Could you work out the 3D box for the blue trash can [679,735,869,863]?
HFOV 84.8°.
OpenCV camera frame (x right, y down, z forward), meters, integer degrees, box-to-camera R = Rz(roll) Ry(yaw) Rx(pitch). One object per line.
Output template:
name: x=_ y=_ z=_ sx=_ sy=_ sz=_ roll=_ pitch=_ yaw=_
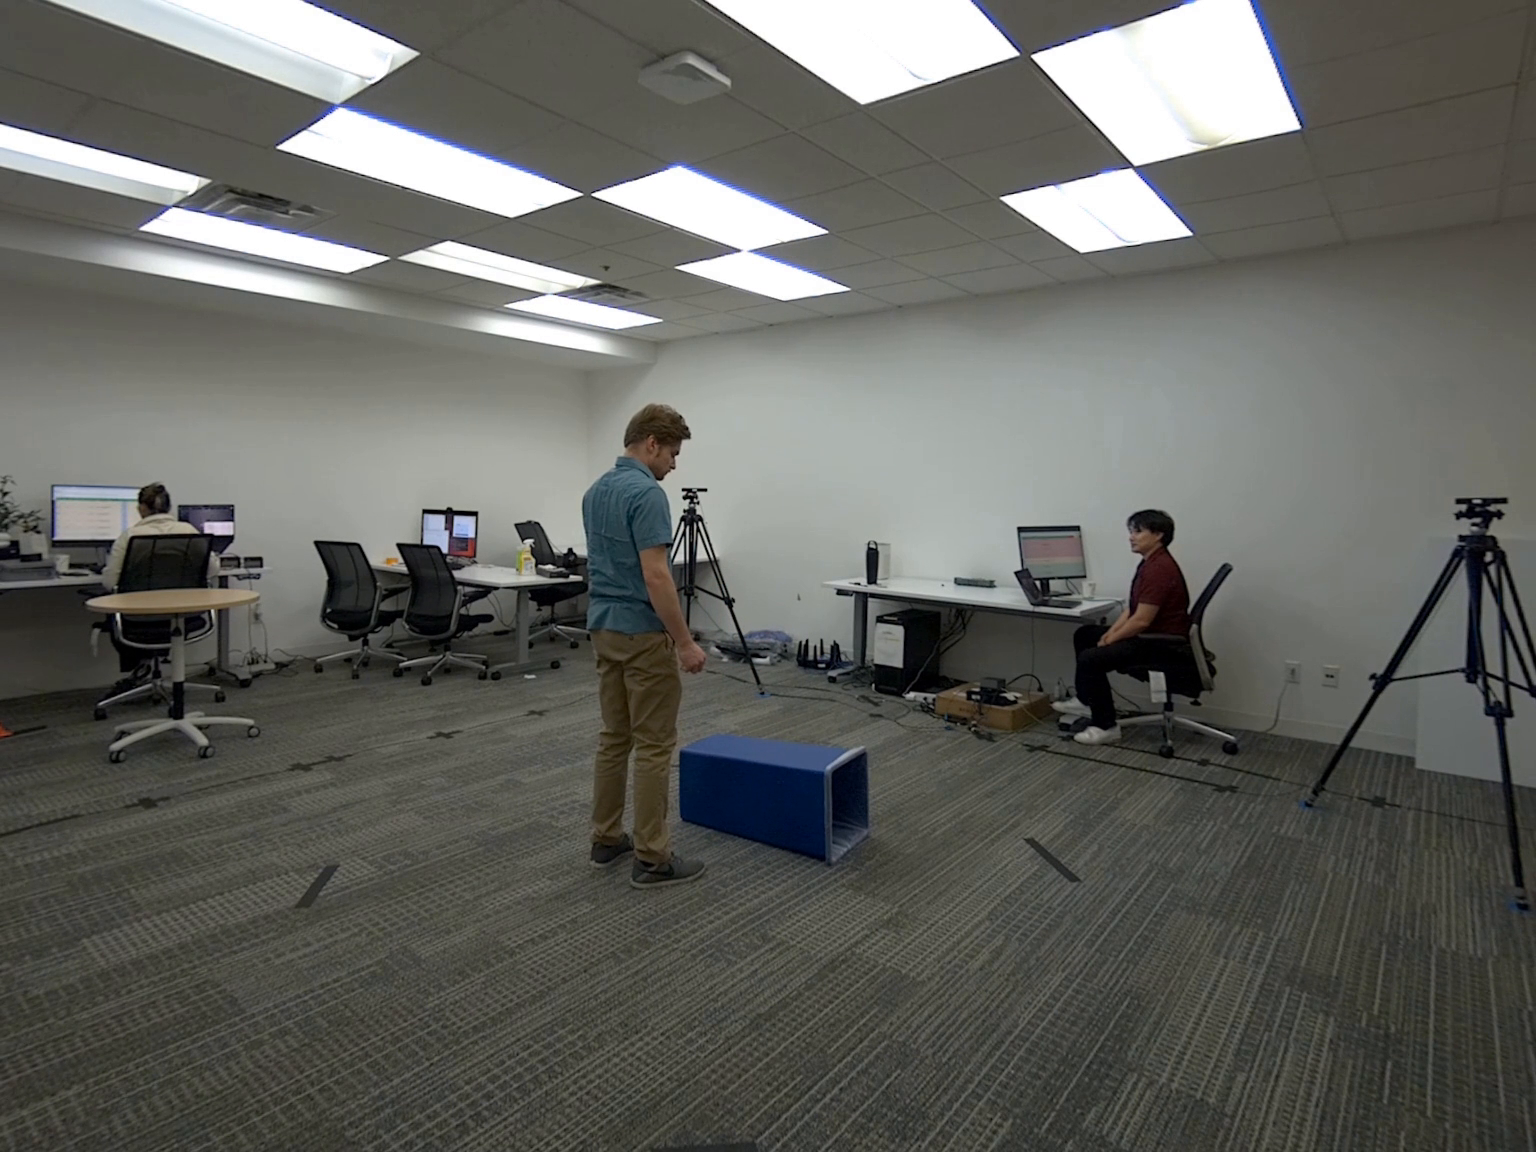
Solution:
blue trash can: x=0.002 y=0.874 z=3.485 sx=0.734 sy=0.377 sz=0.364 roll=1 pitch=4 yaw=31
